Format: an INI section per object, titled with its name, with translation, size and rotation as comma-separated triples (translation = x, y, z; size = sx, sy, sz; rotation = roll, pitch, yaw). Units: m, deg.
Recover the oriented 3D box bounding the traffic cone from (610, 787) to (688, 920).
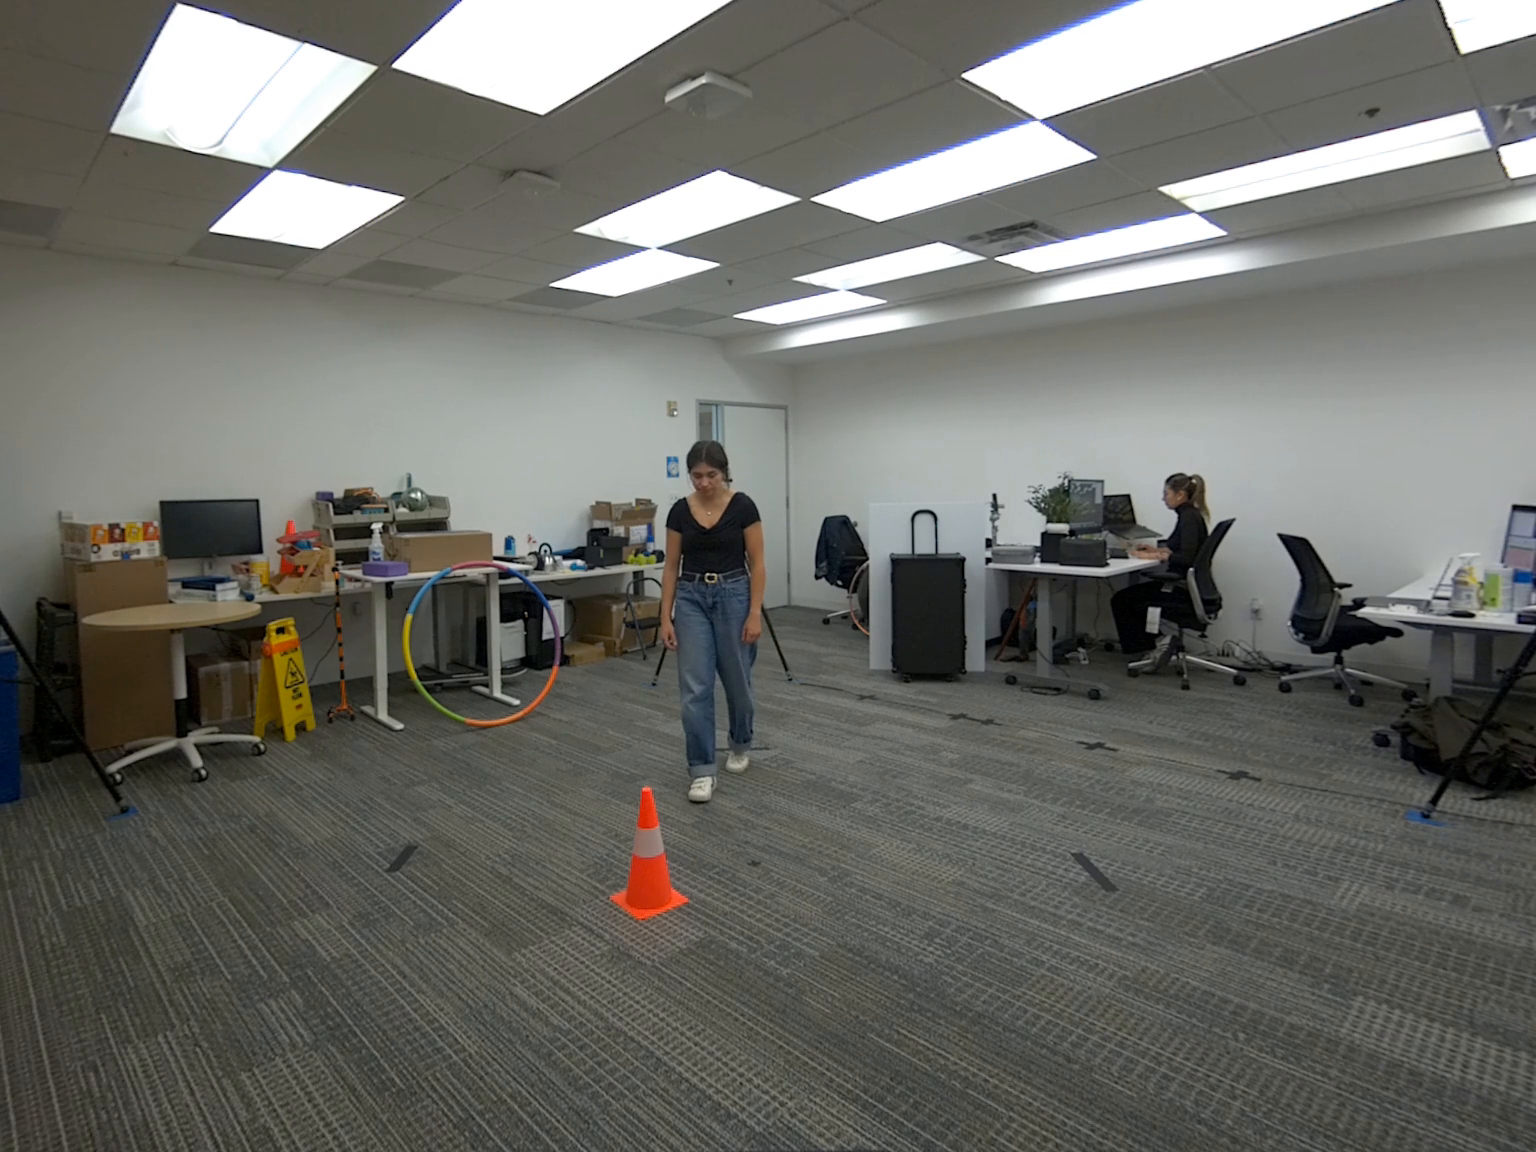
[traffic cone]
translation = -0.399, 0.899, 2.844
size = 0.200, 0.382, 0.210
rotation = -6, 8, -40
